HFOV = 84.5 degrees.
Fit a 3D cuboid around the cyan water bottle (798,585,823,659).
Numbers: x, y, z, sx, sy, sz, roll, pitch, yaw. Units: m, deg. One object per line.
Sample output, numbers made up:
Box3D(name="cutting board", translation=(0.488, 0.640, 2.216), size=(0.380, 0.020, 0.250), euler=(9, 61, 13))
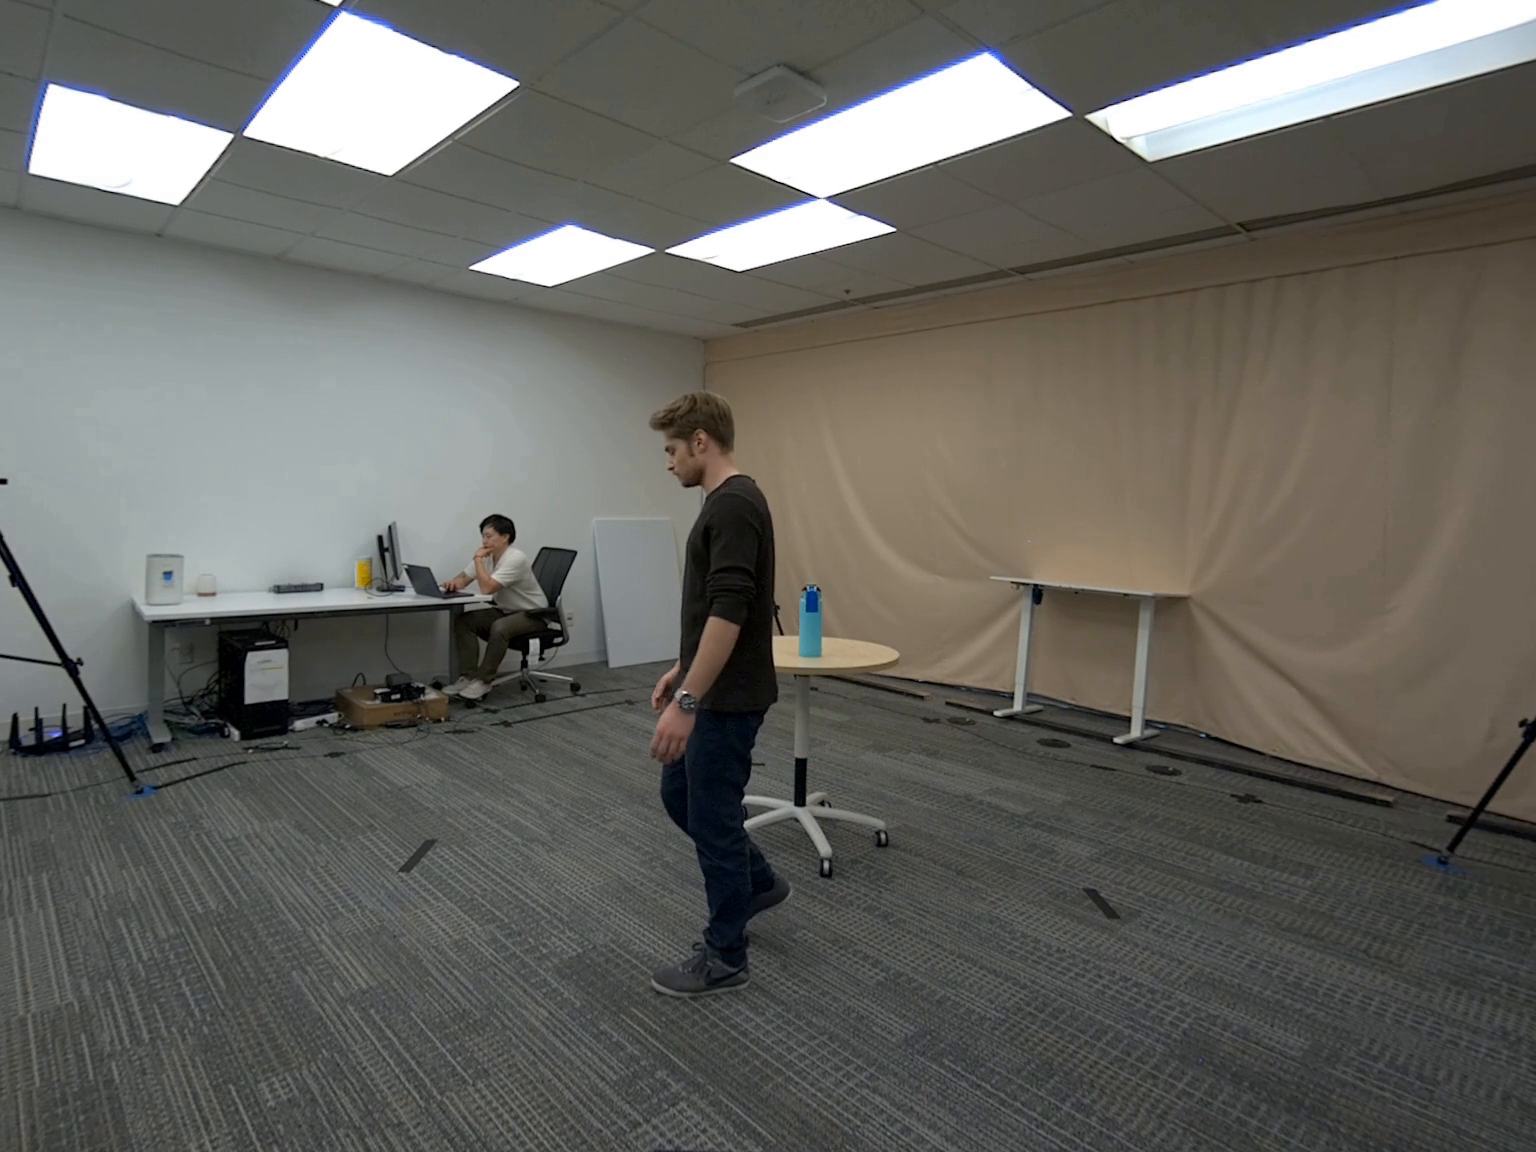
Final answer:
Box3D(name="cyan water bottle", translation=(0.163, 0.175, 3.301), size=(0.092, 0.282, 0.093), euler=(2, 5, -2))
